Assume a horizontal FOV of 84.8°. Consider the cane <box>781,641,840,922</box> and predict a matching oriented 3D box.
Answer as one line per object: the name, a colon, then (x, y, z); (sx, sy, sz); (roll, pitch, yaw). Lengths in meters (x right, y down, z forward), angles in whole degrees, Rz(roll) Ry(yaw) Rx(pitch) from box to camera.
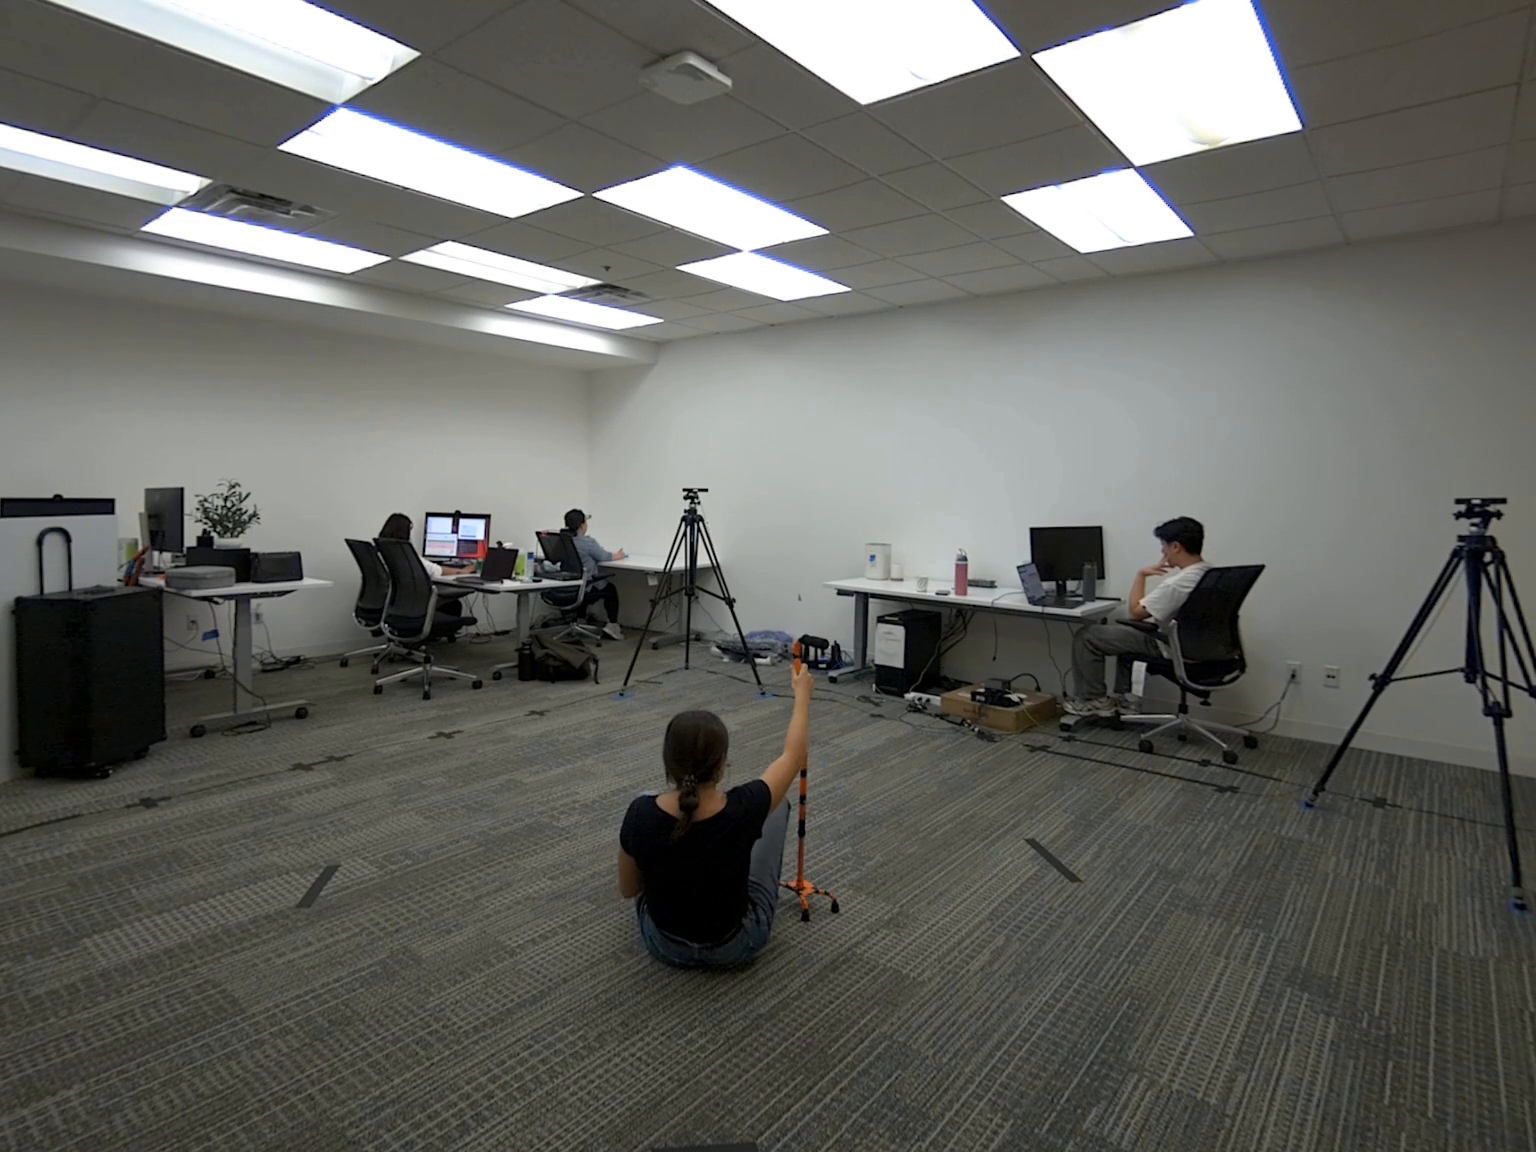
cane: (0.138, 0.643, 2.842); (0.147, 0.905, 0.213); (-1, 4, -36)
